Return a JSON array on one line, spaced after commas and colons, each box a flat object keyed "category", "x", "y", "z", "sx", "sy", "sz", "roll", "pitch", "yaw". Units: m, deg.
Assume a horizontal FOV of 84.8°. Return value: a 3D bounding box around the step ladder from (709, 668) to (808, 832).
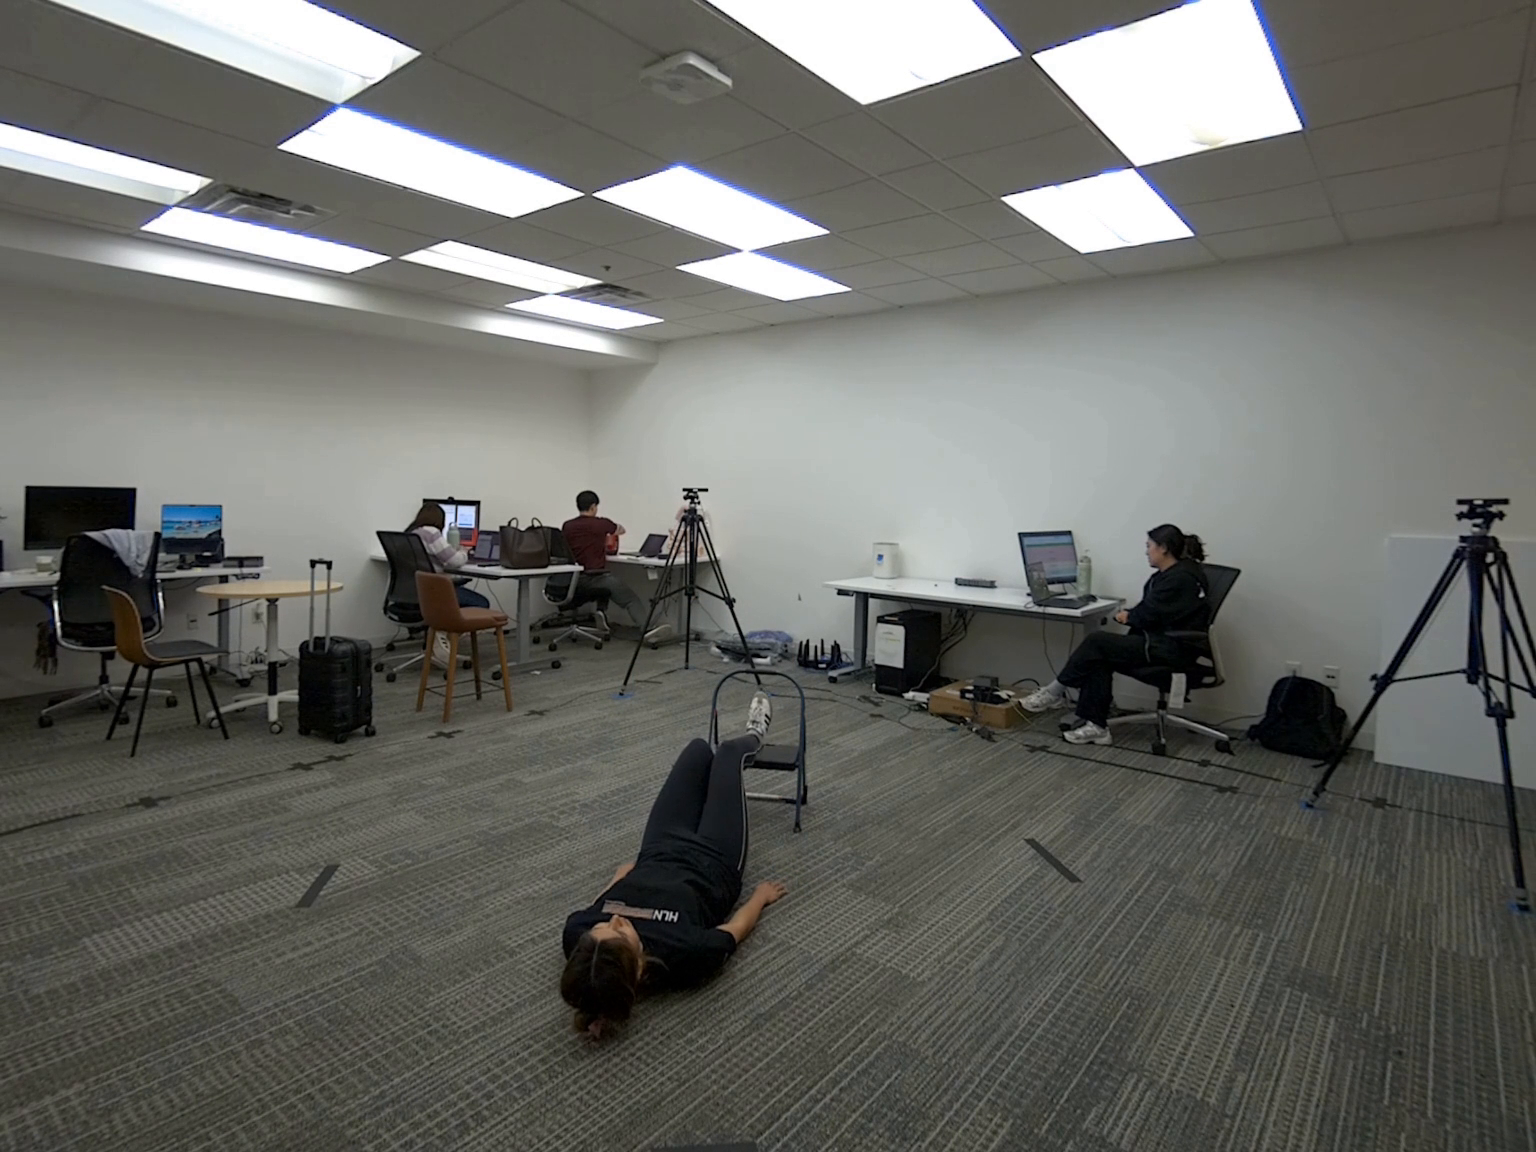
[{"category": "step ladder", "x": -0.053, "y": 0.713, "z": 3.659, "sx": 0.436, "sy": 0.605, "sz": 0.346, "roll": 2, "pitch": 3, "yaw": 10}]
